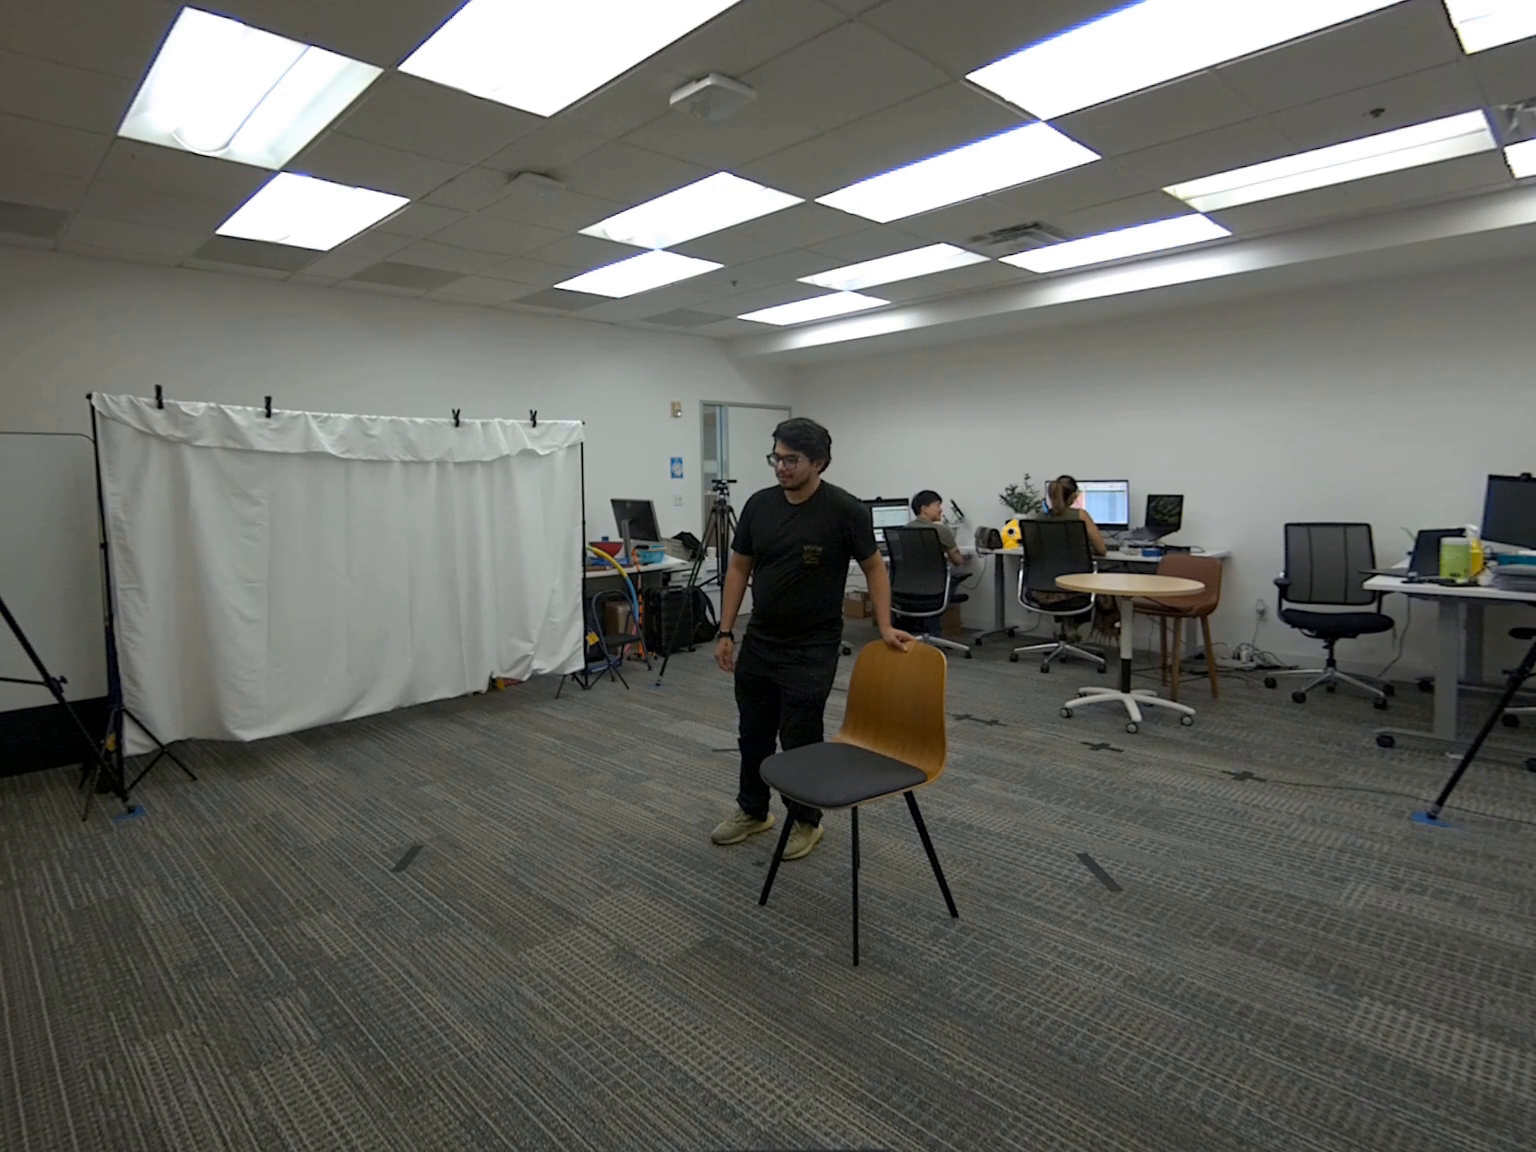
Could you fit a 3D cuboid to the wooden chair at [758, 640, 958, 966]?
[{"bbox_3d":[0.278,0.660,2.715,0.508,0.877,0.492,1,2,-38],"label":"wooden chair"}]
